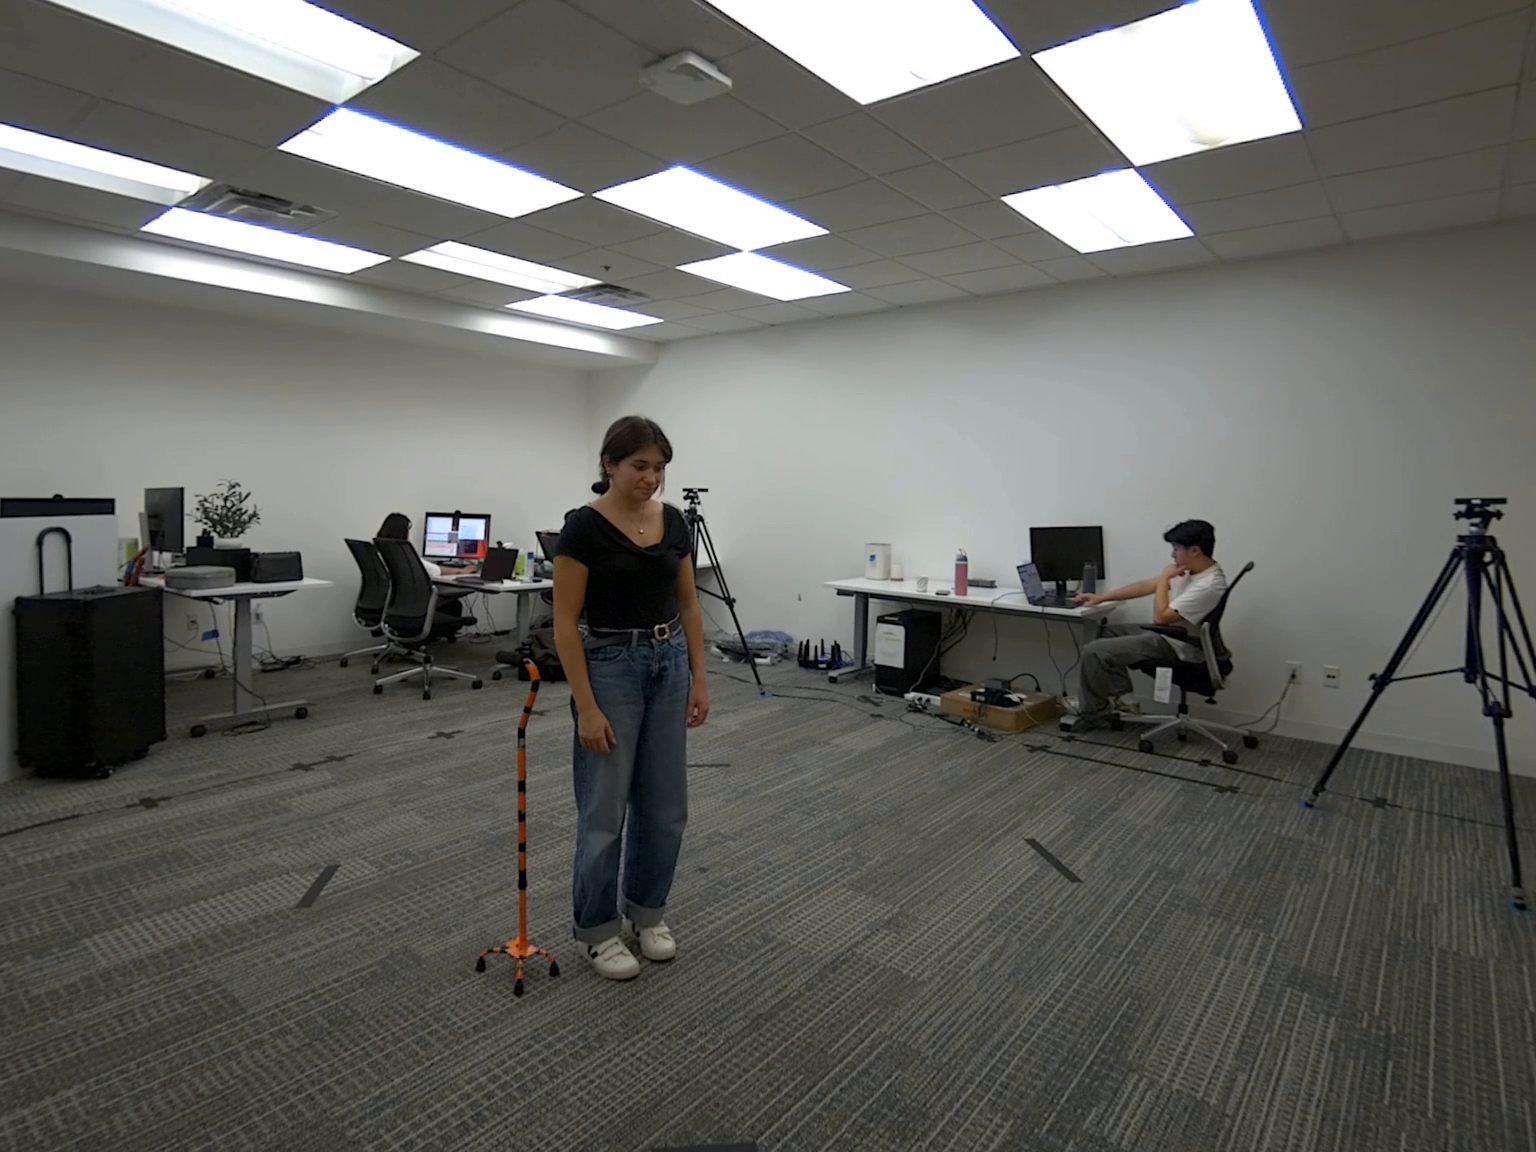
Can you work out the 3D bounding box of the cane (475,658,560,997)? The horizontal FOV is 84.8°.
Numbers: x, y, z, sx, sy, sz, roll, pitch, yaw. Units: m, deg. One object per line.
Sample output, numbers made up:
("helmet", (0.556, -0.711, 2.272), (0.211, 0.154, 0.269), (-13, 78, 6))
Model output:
("cane", (-0.717, 0.679, 2.419), (0.213, 0.906, 0.147), (2, 3, 37))
